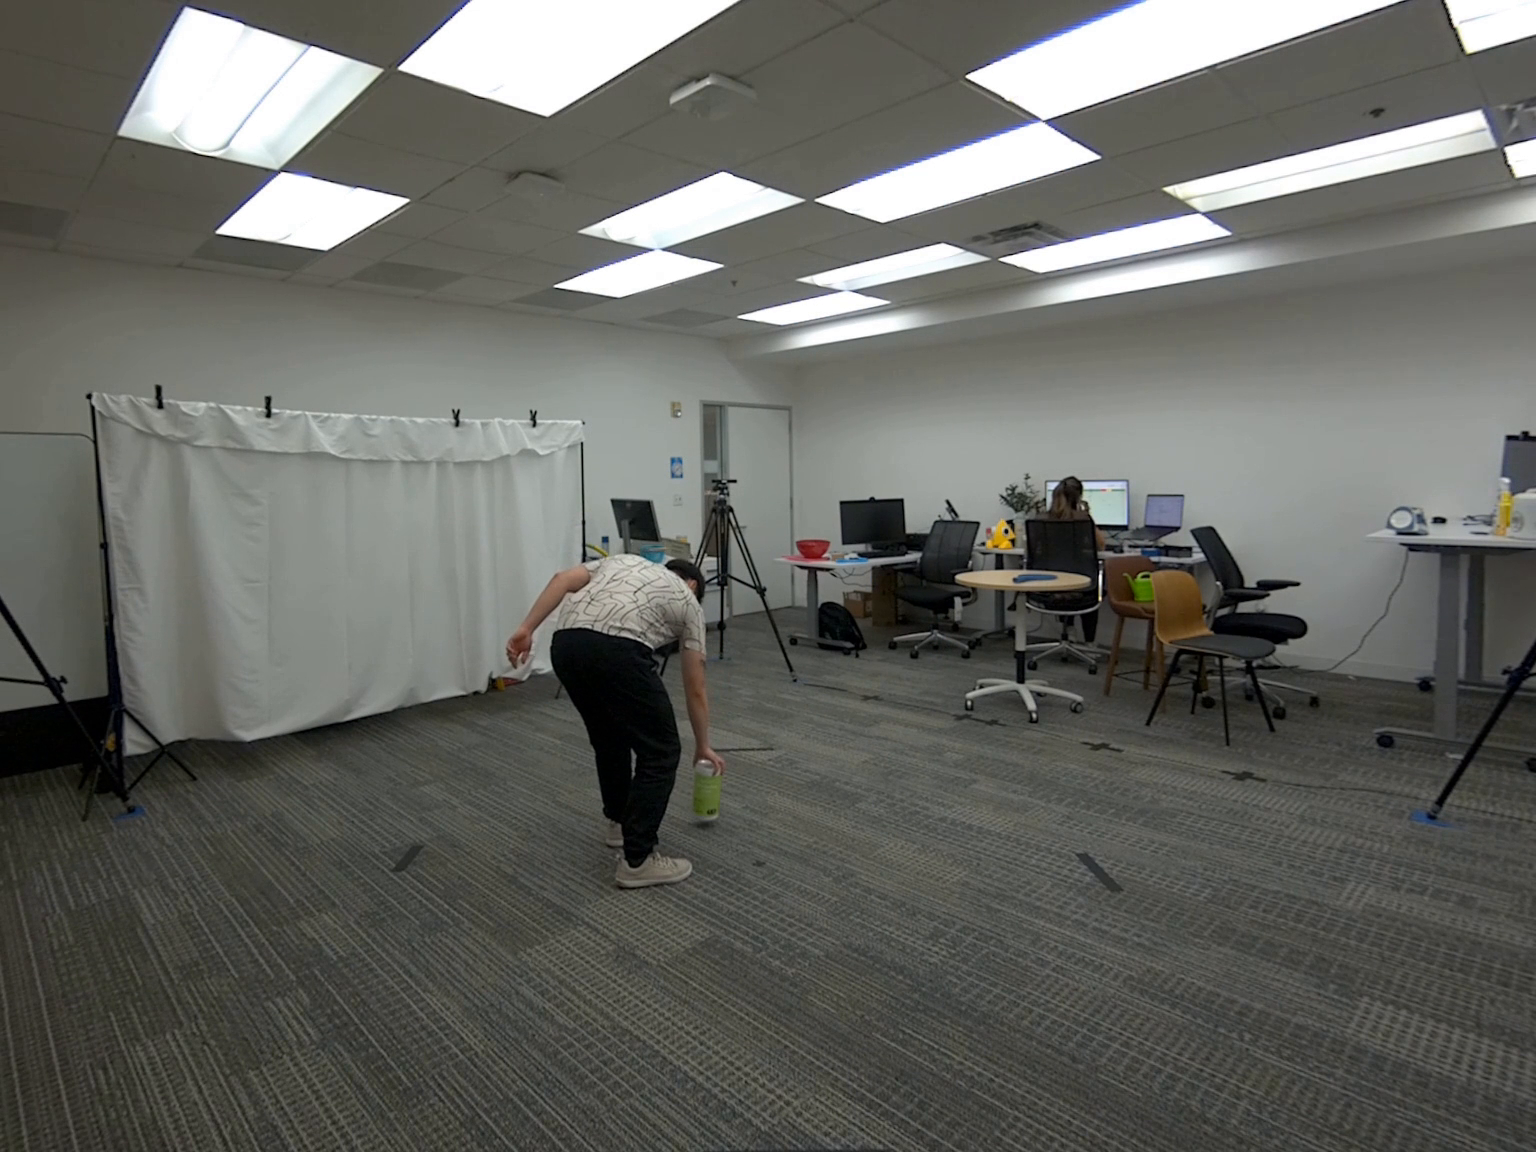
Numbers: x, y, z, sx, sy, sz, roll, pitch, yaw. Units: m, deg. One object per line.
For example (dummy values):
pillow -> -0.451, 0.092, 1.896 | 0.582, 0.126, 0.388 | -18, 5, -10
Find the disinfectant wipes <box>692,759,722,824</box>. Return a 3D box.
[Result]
disinfectant wipes -> -0.245, 0.869, 3.462 | 0.117, 0.216, 0.118 | 2, 5, -2
